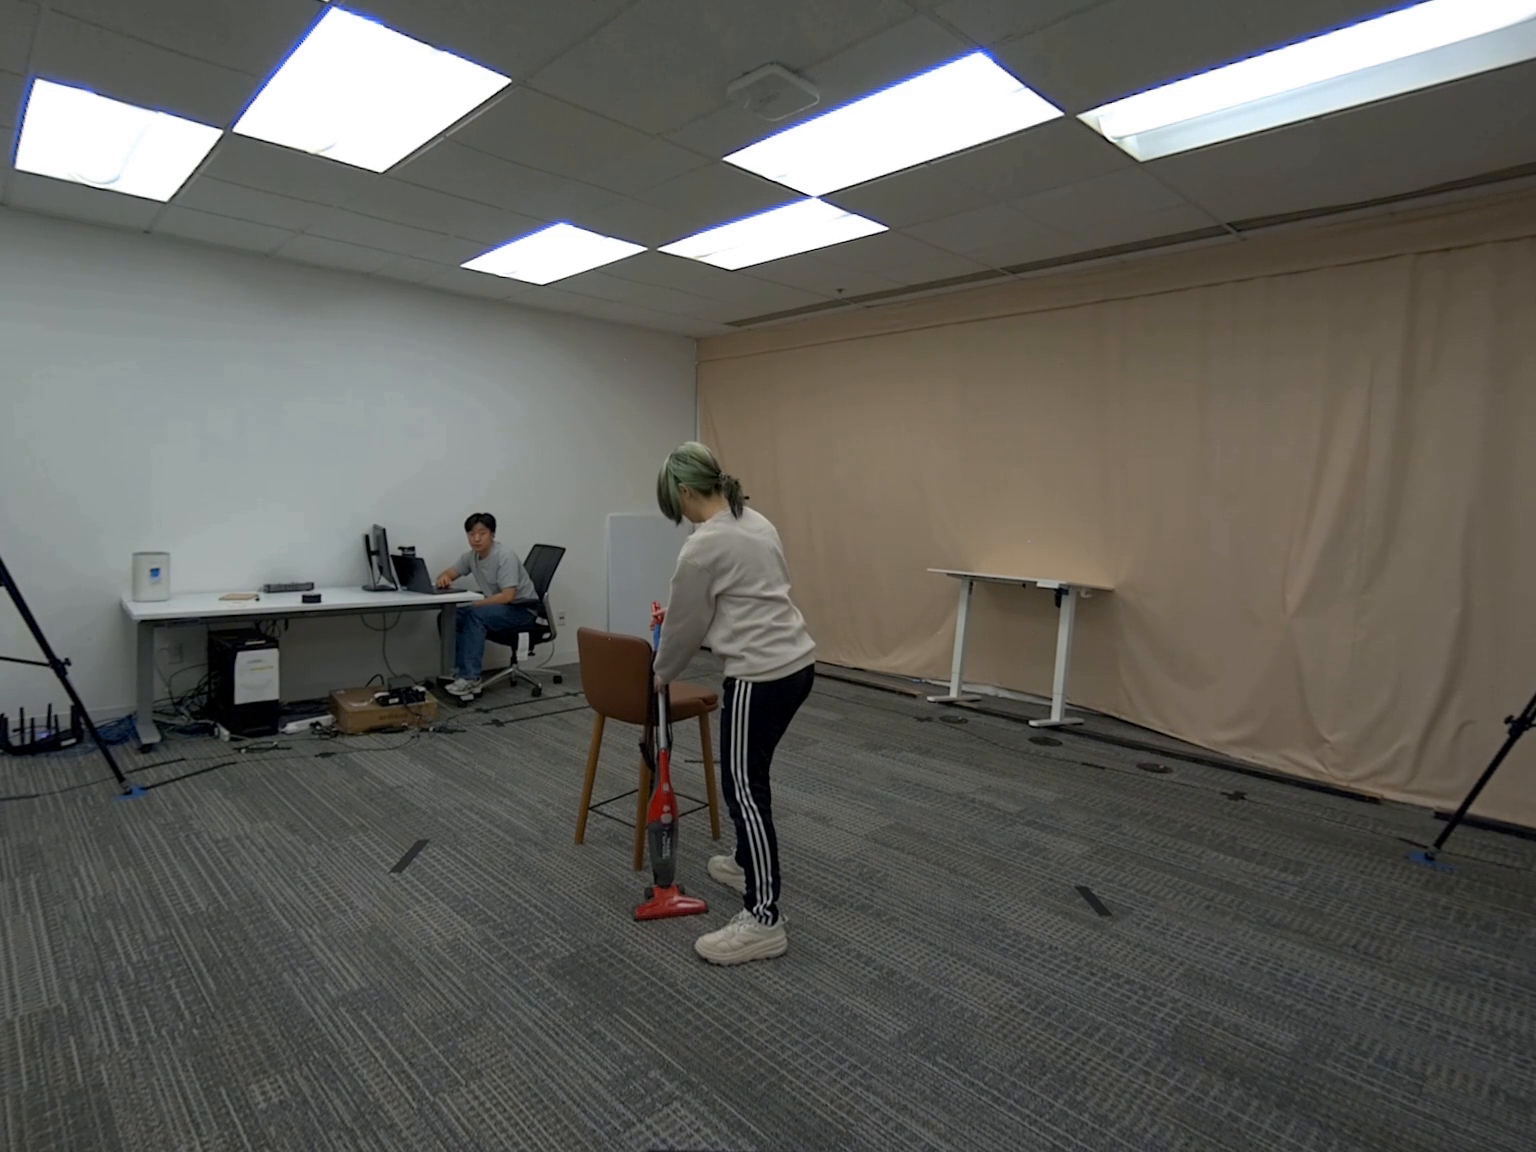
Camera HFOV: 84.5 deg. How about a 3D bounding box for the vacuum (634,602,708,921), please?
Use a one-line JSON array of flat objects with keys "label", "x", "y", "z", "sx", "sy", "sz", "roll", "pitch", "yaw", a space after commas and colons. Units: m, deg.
[{"label": "vacuum", "x": -0.384, "y": 0.618, "z": 2.996, "sx": 0.248, "sy": 1.063, "sz": 0.144, "roll": 3, "pitch": -18, "yaw": -22}]
